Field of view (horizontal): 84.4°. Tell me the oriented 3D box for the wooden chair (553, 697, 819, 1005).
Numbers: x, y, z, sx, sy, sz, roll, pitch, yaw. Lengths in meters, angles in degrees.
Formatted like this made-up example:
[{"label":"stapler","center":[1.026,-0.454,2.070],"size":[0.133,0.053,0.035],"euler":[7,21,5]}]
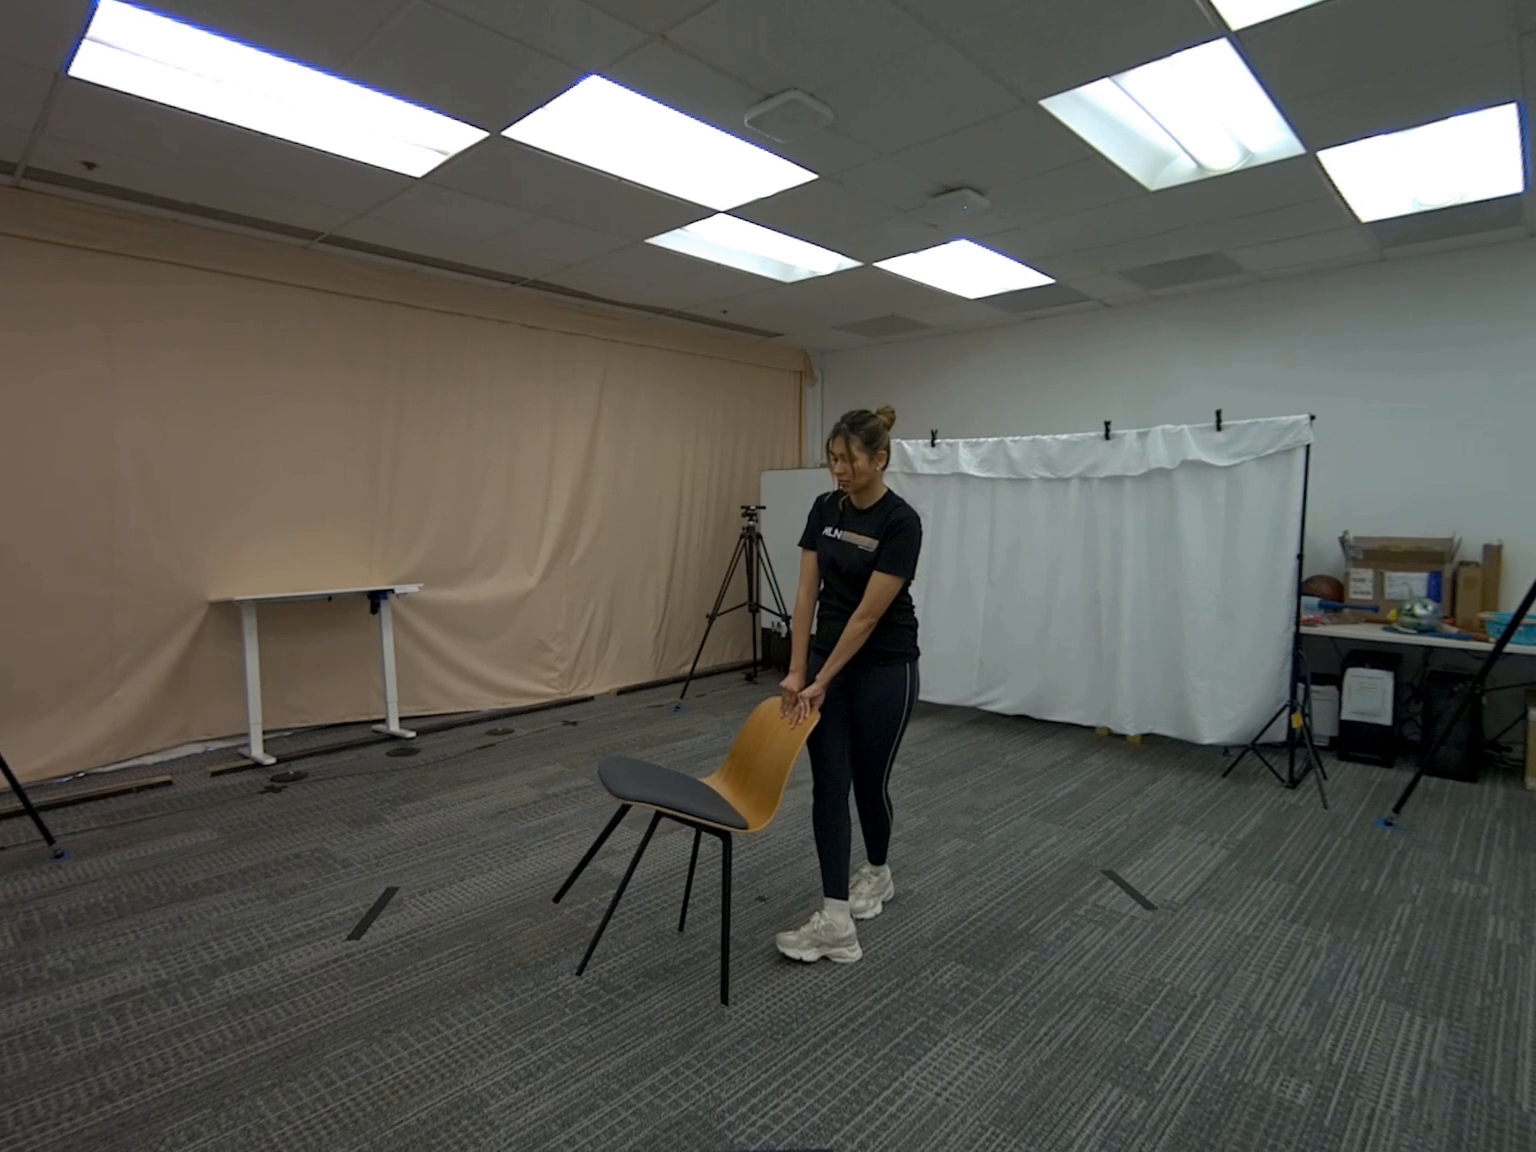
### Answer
[{"label":"wooden chair","center":[-0.251,0.702,2.507],"size":[0.511,0.878,0.489],"euler":[25,-6,-20]}]
